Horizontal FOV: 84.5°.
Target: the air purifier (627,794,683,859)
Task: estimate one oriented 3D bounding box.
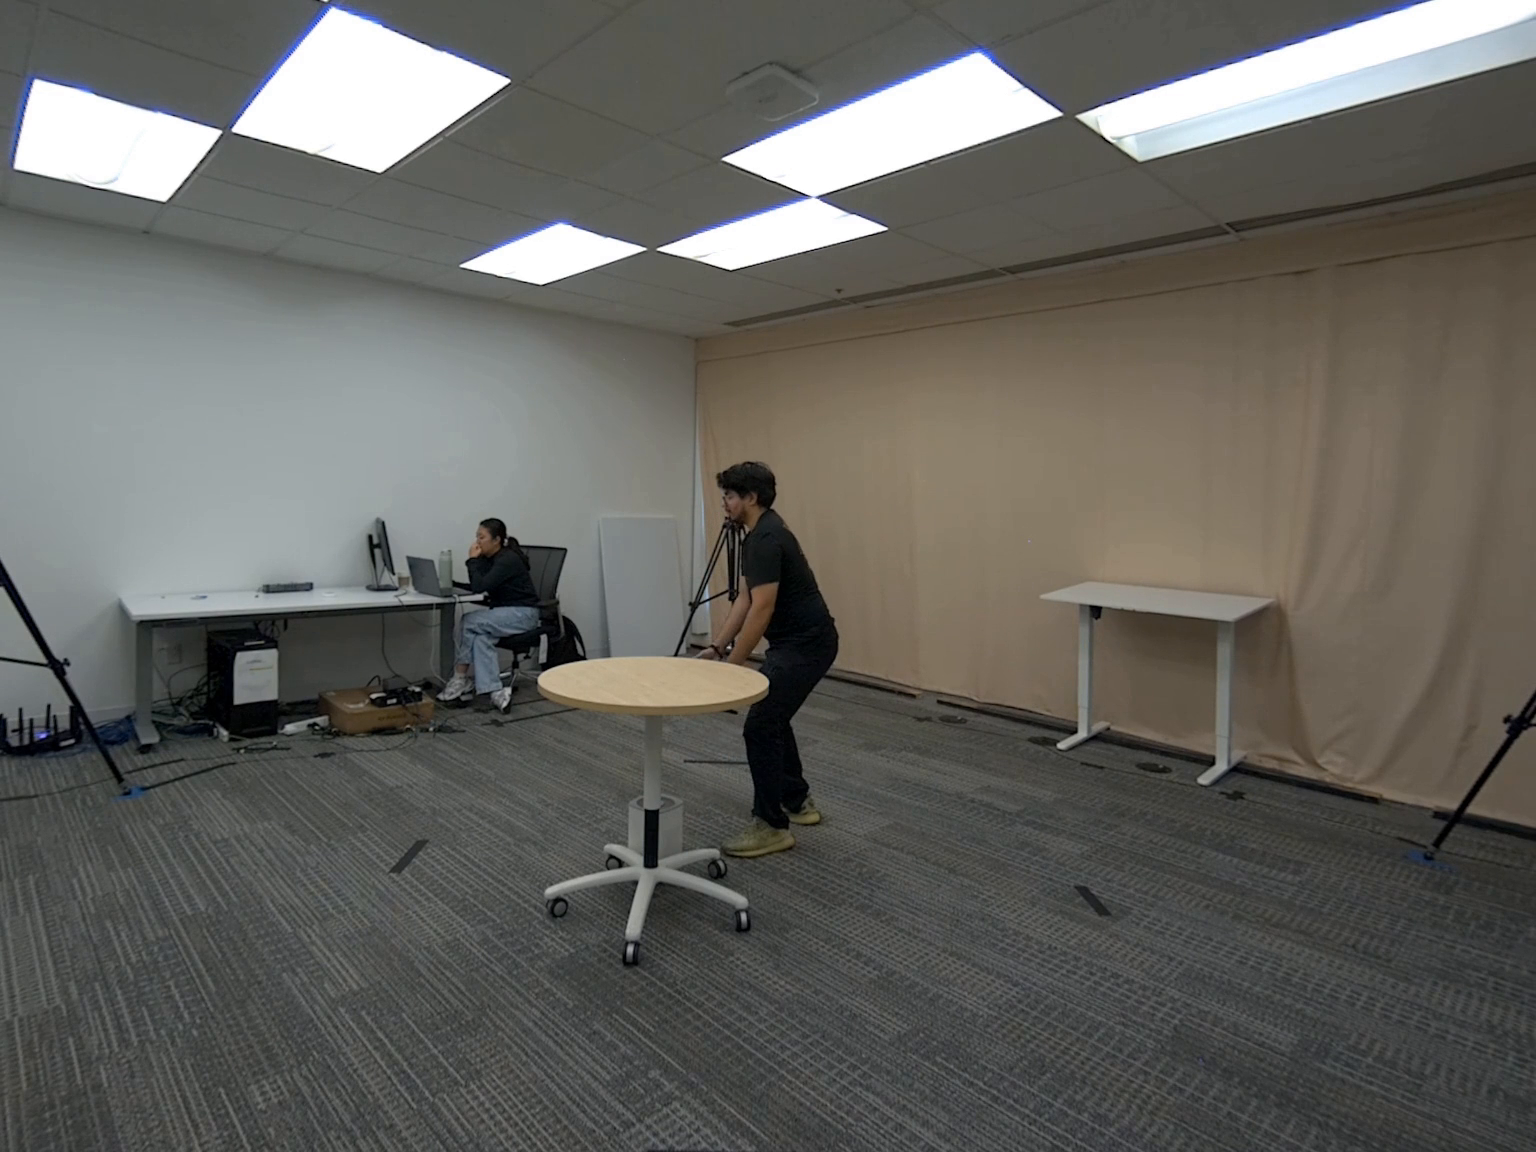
[{"bbox_3d":[-0.421,0.965,3.106,0.175,0.264,0.168,5,5,34],"label":"air purifier"}]
